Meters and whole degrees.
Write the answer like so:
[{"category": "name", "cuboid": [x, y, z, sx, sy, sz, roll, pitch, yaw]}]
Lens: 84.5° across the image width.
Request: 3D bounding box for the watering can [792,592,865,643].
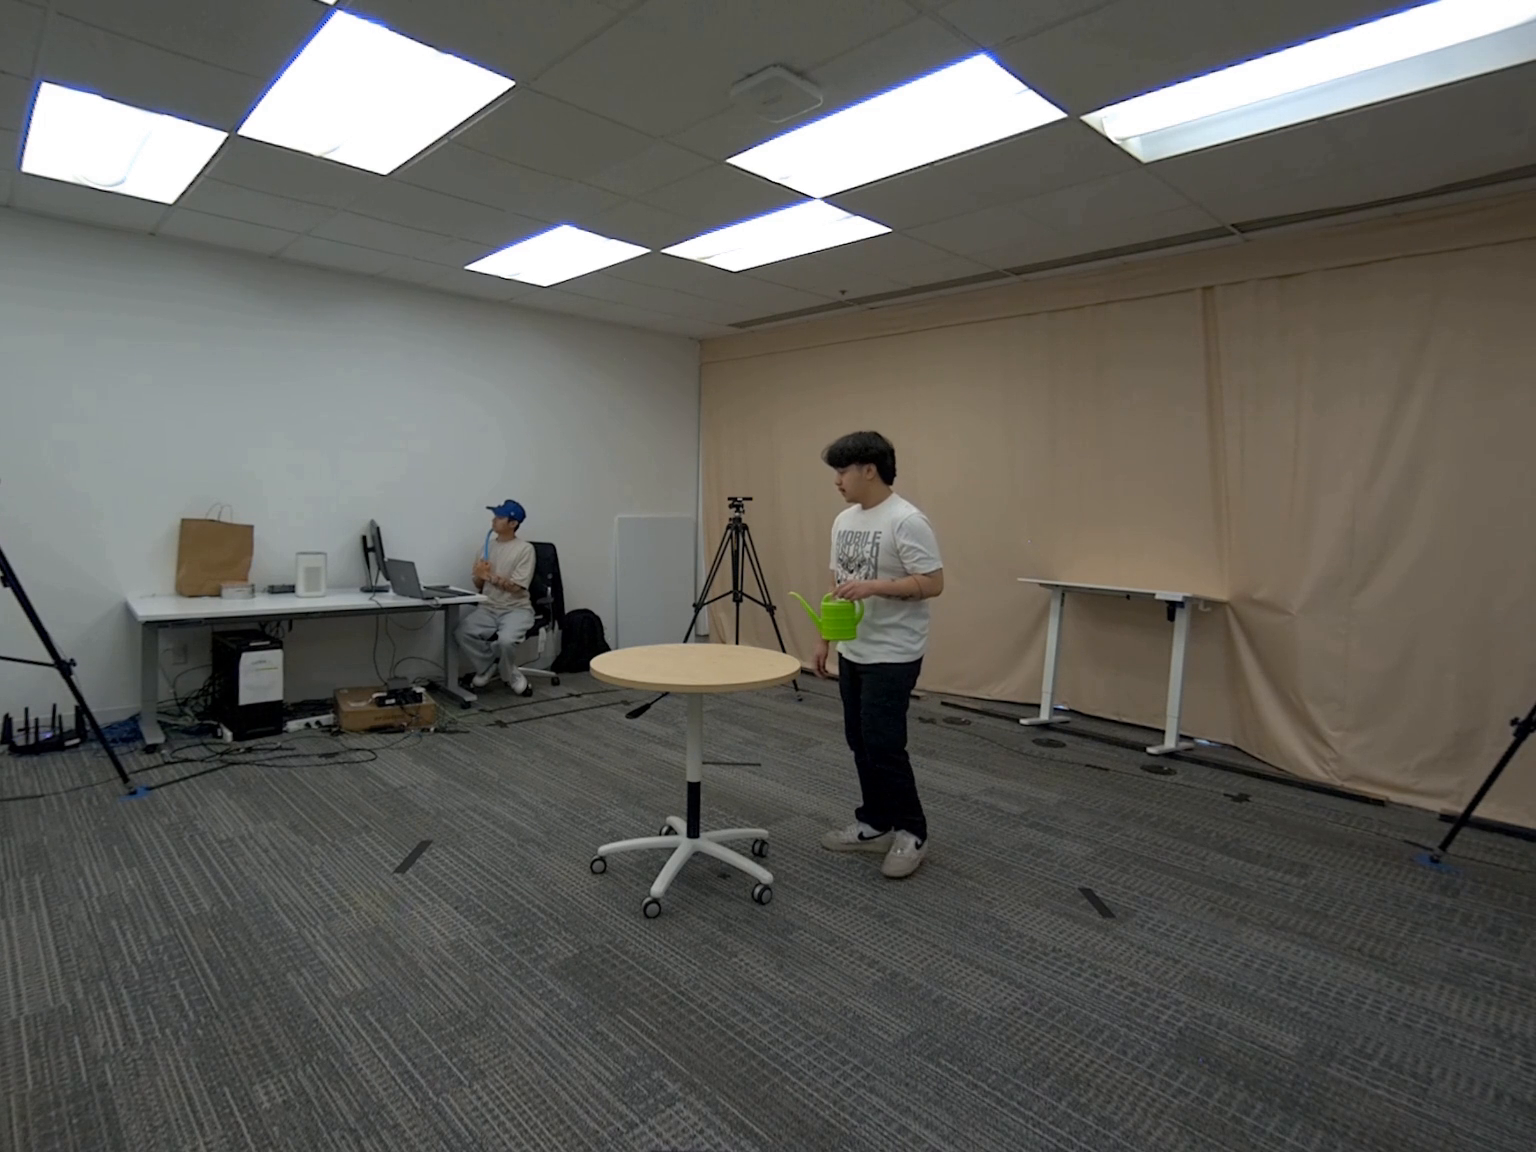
[{"category": "watering can", "cuboid": [0.216, 0.146, 3.109, 0.285, 0.176, 0.096, 3, 9, 38]}]
